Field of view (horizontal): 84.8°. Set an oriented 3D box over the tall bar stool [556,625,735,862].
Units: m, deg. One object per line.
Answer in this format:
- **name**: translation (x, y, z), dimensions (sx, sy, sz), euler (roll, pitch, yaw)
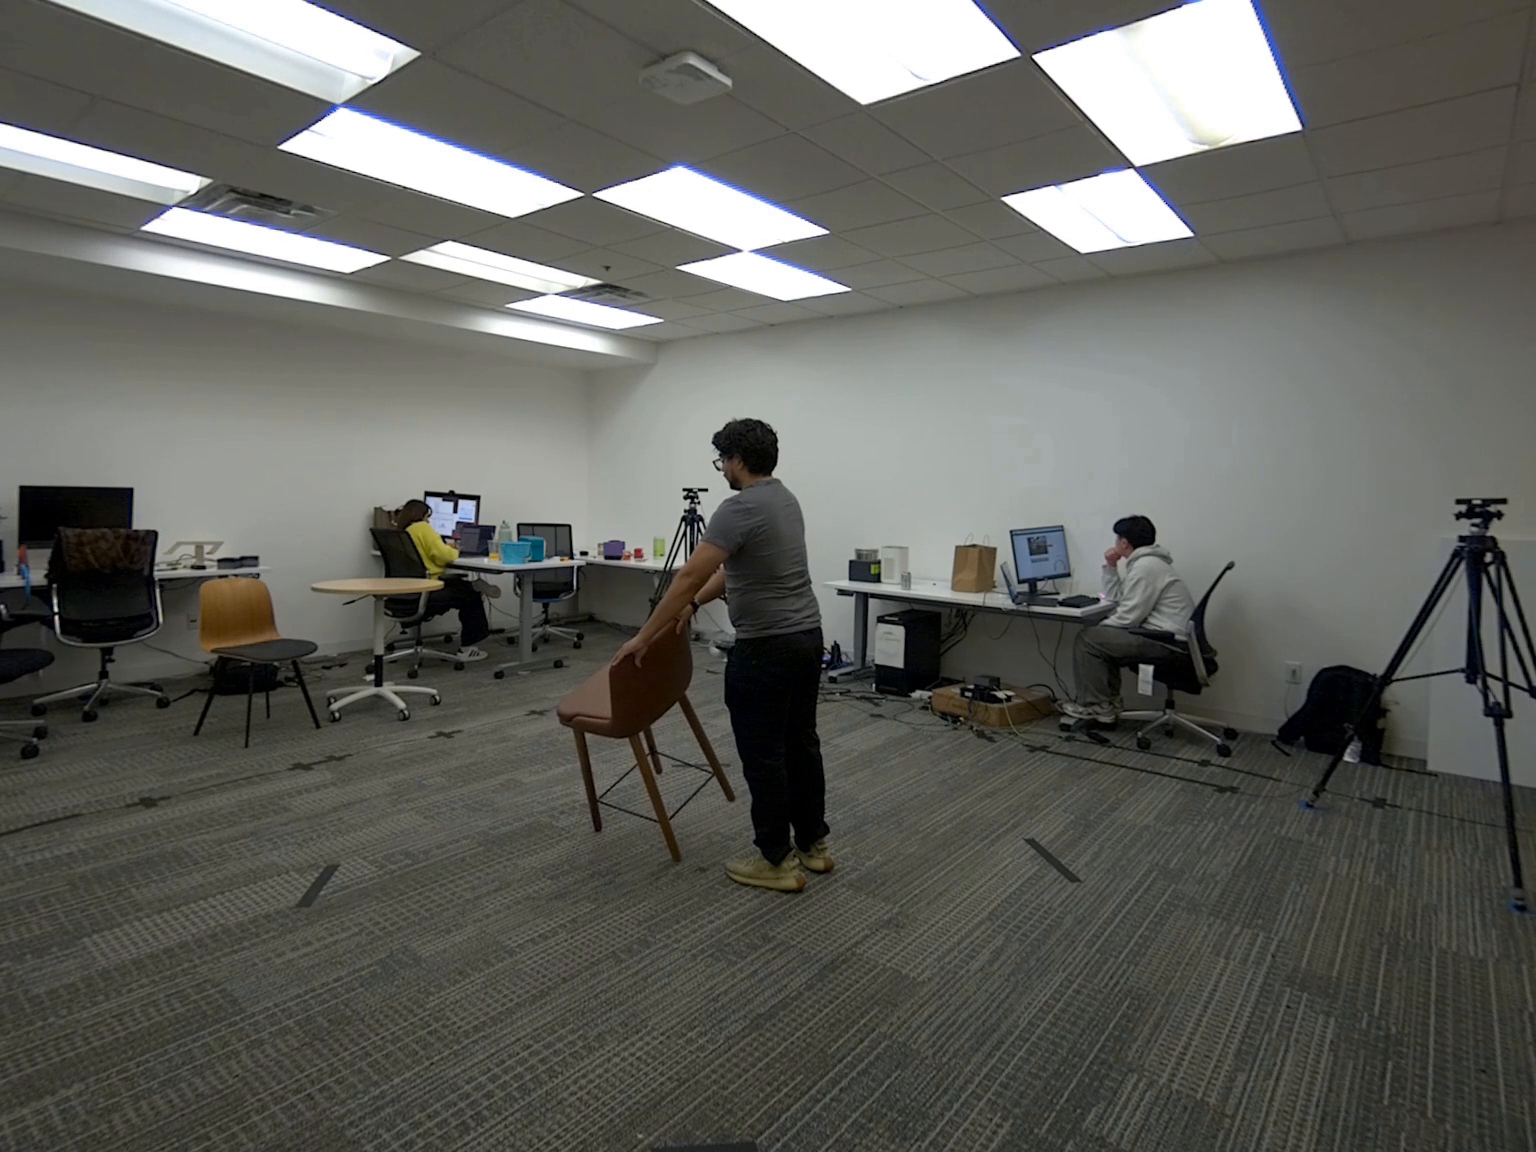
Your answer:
- **tall bar stool**: translation (-0.512, 0.577, 3.285), dimensions (0.484, 0.869, 0.452), euler (8, 29, 38)
